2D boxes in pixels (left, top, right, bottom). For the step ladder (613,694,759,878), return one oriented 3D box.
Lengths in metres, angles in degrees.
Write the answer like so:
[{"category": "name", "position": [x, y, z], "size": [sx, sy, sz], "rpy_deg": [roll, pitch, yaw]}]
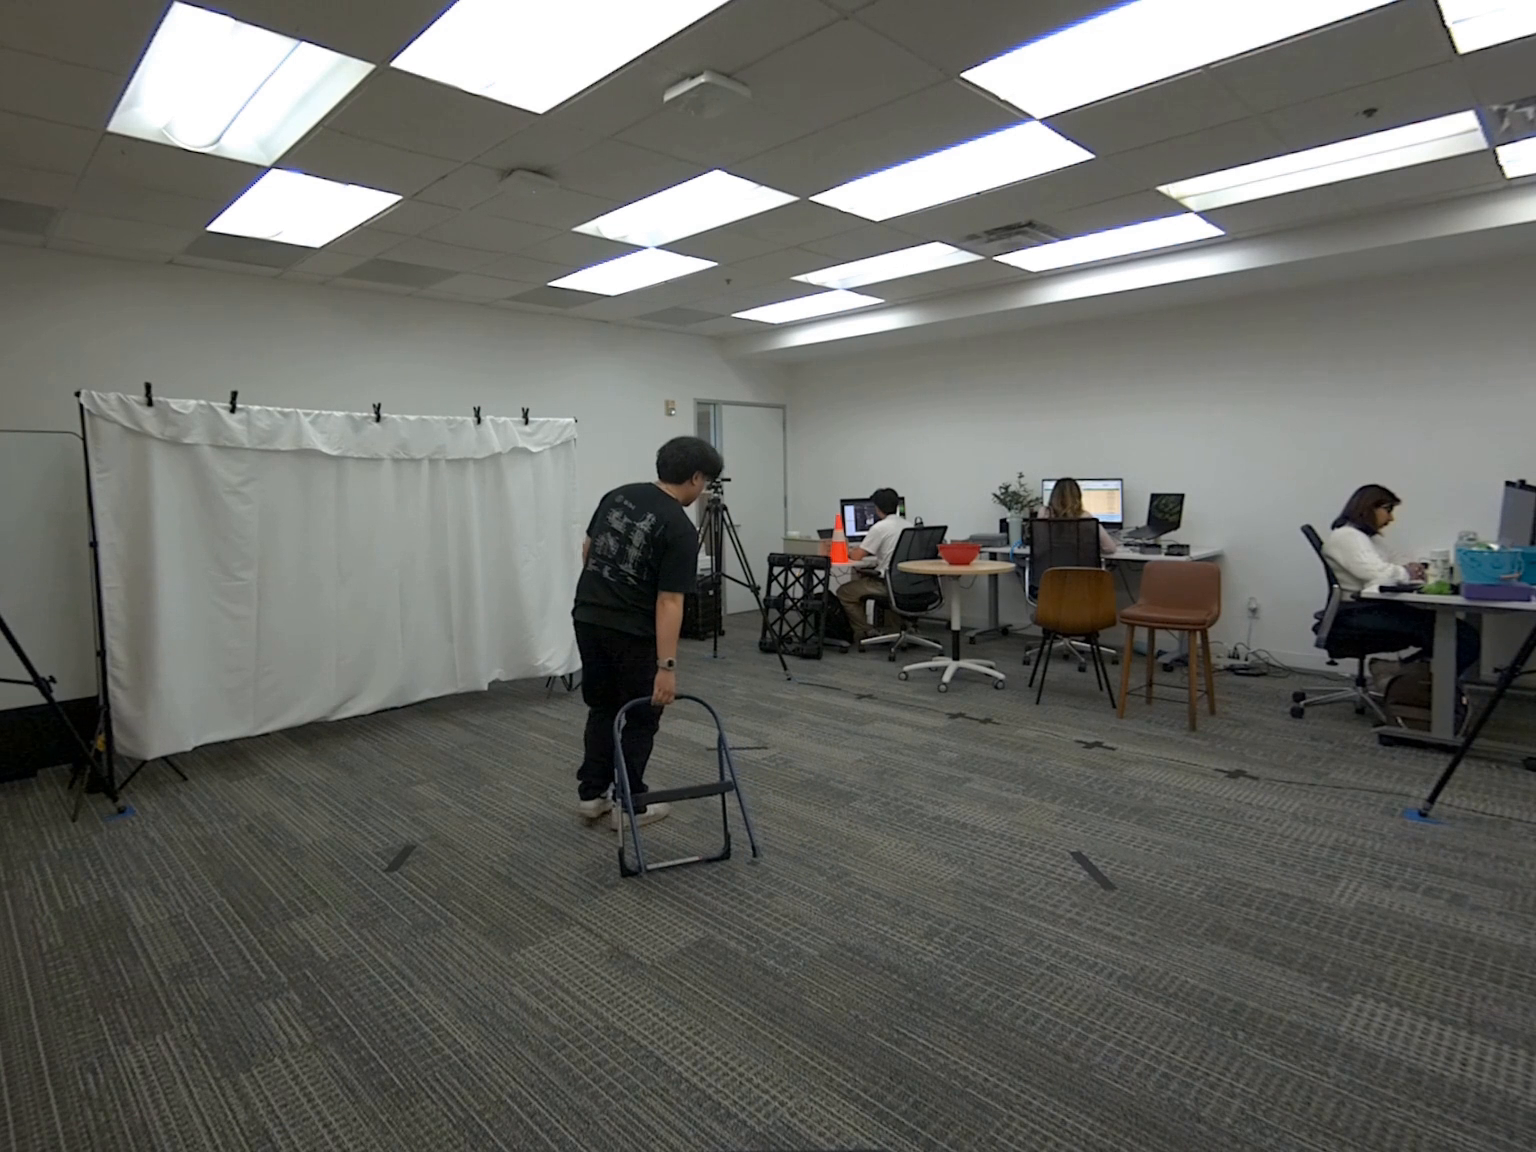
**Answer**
[{"category": "step ladder", "position": [-0.319, 0.715, 3.039], "size": [0.422, 0.618, 0.349], "rpy_deg": [-3, -19, -22]}]
